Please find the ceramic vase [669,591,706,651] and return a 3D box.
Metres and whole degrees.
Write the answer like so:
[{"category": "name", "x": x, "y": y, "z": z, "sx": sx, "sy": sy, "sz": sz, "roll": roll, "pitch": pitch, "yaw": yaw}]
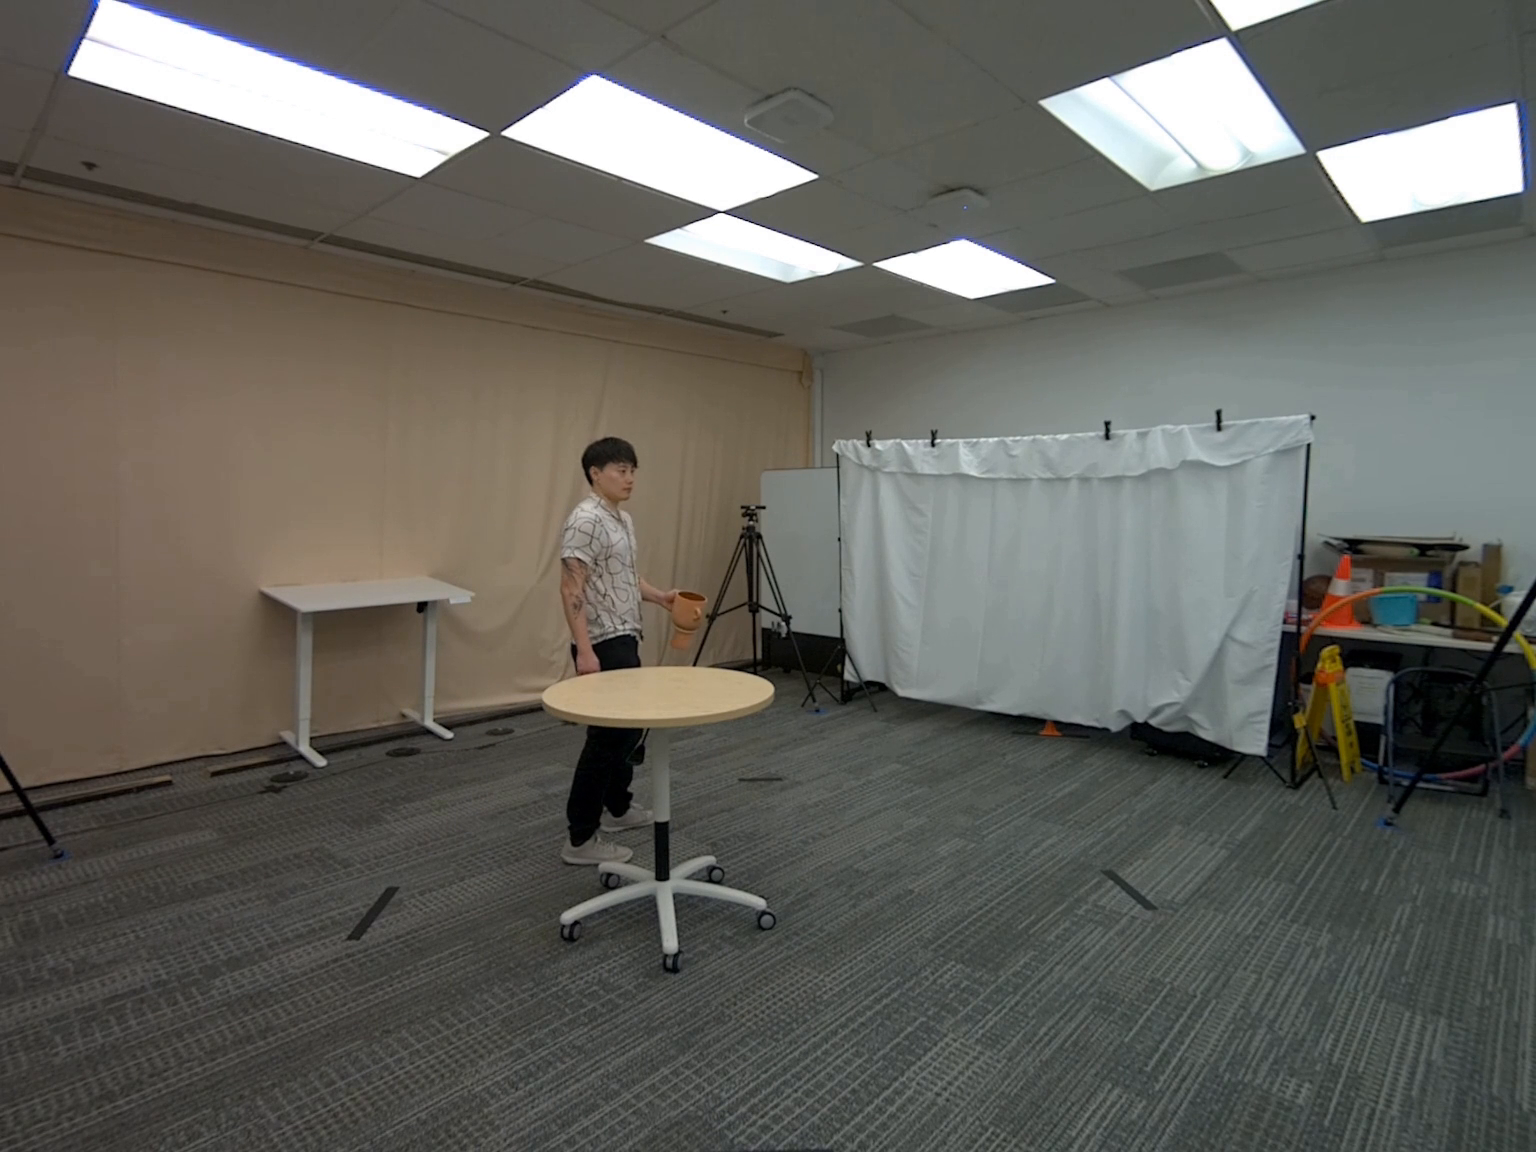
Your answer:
[{"category": "ceramic vase", "x": -0.339, "y": 0.186, "z": 3.473, "sx": 0.135, "sy": 0.219, "sz": 0.158, "roll": 13, "pitch": 12, "yaw": 4}]
